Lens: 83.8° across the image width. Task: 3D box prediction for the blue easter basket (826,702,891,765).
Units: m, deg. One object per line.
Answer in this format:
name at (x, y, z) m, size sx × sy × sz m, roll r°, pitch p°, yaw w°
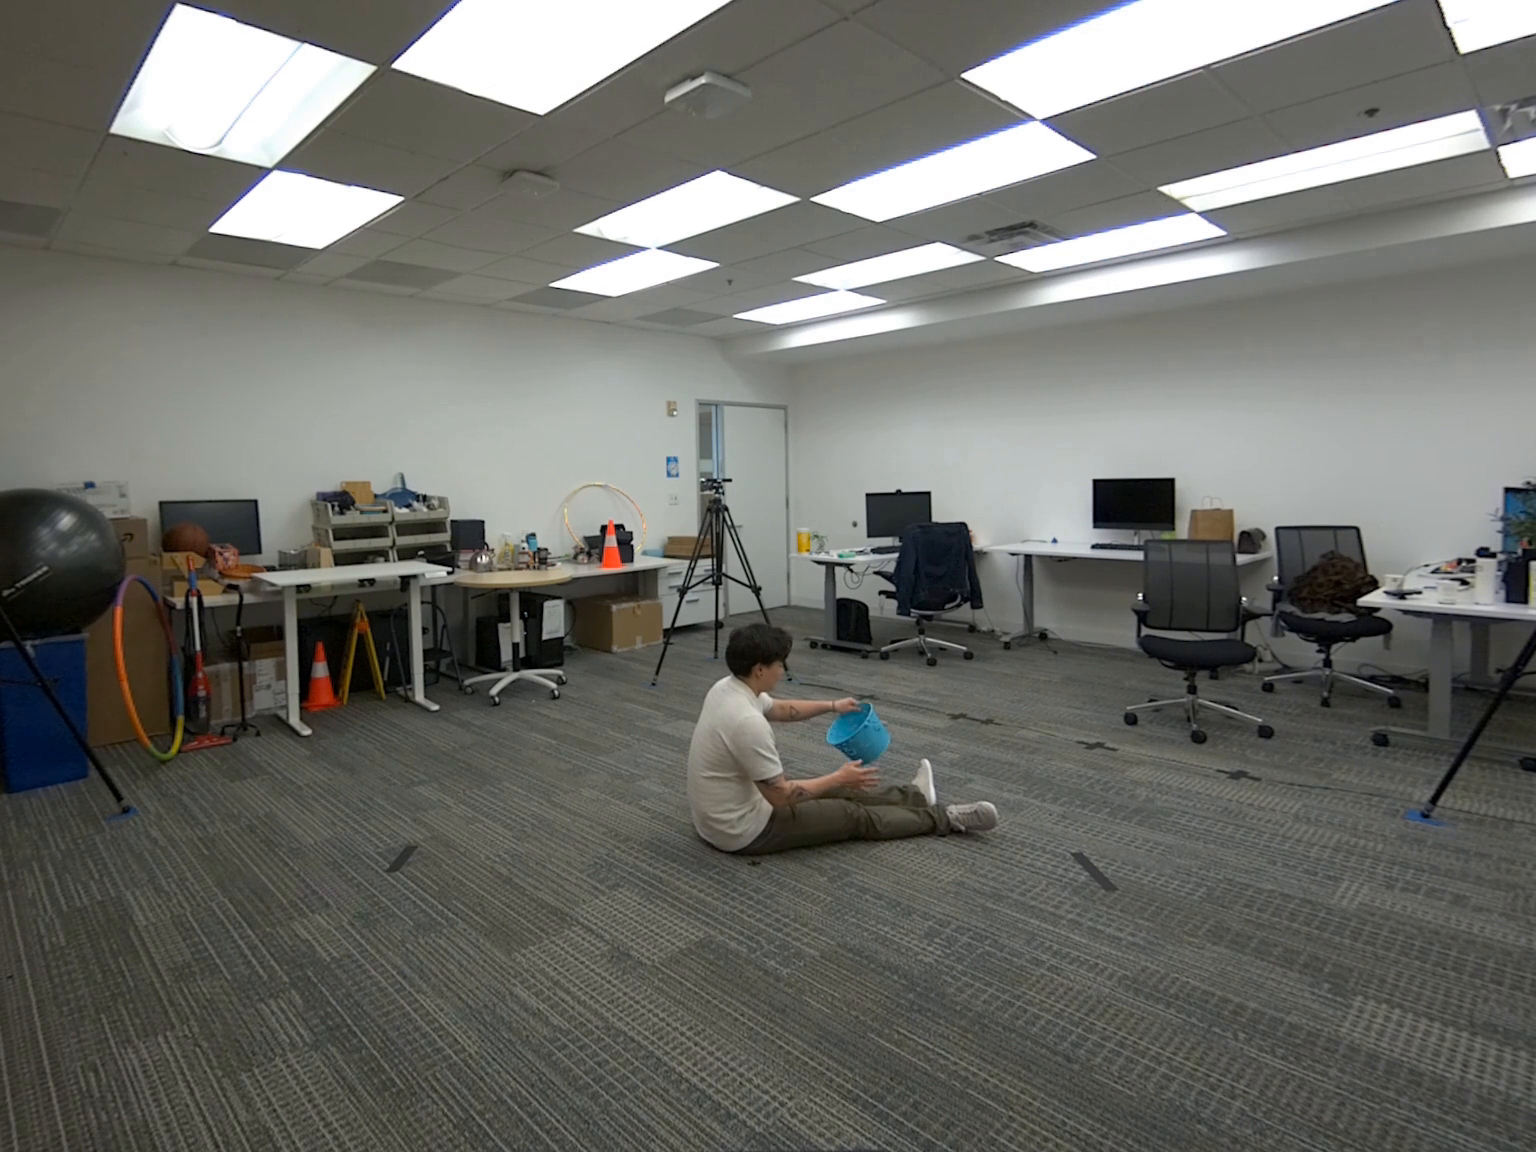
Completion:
blue easter basket at (0.367, 0.651, 3.464) m, size 0.244 × 0.153 × 0.247 m, roll -38°, pitch 14°, yaw 9°
